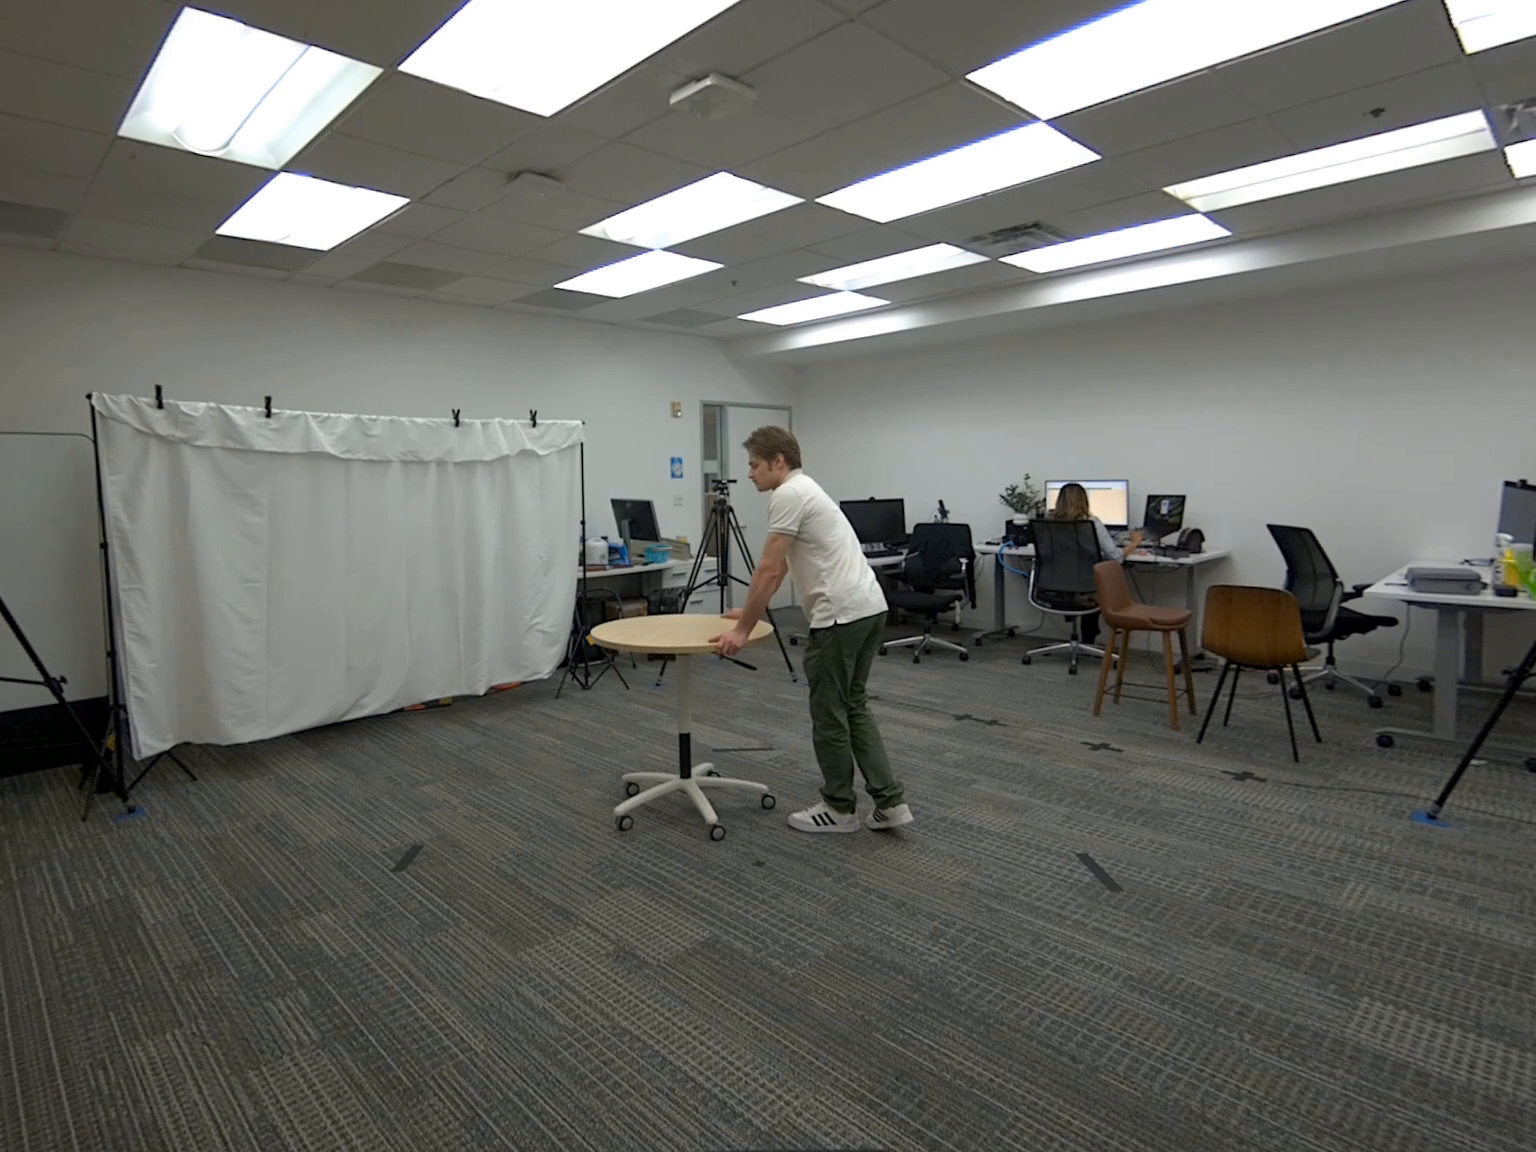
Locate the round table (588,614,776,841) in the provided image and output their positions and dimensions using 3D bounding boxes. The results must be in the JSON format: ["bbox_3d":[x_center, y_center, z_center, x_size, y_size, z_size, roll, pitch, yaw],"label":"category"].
[{"bbox_3d":[-0.353,0.610,3.618,0.763,0.791,0.768,-1,5,-2],"label":"round table"}]
